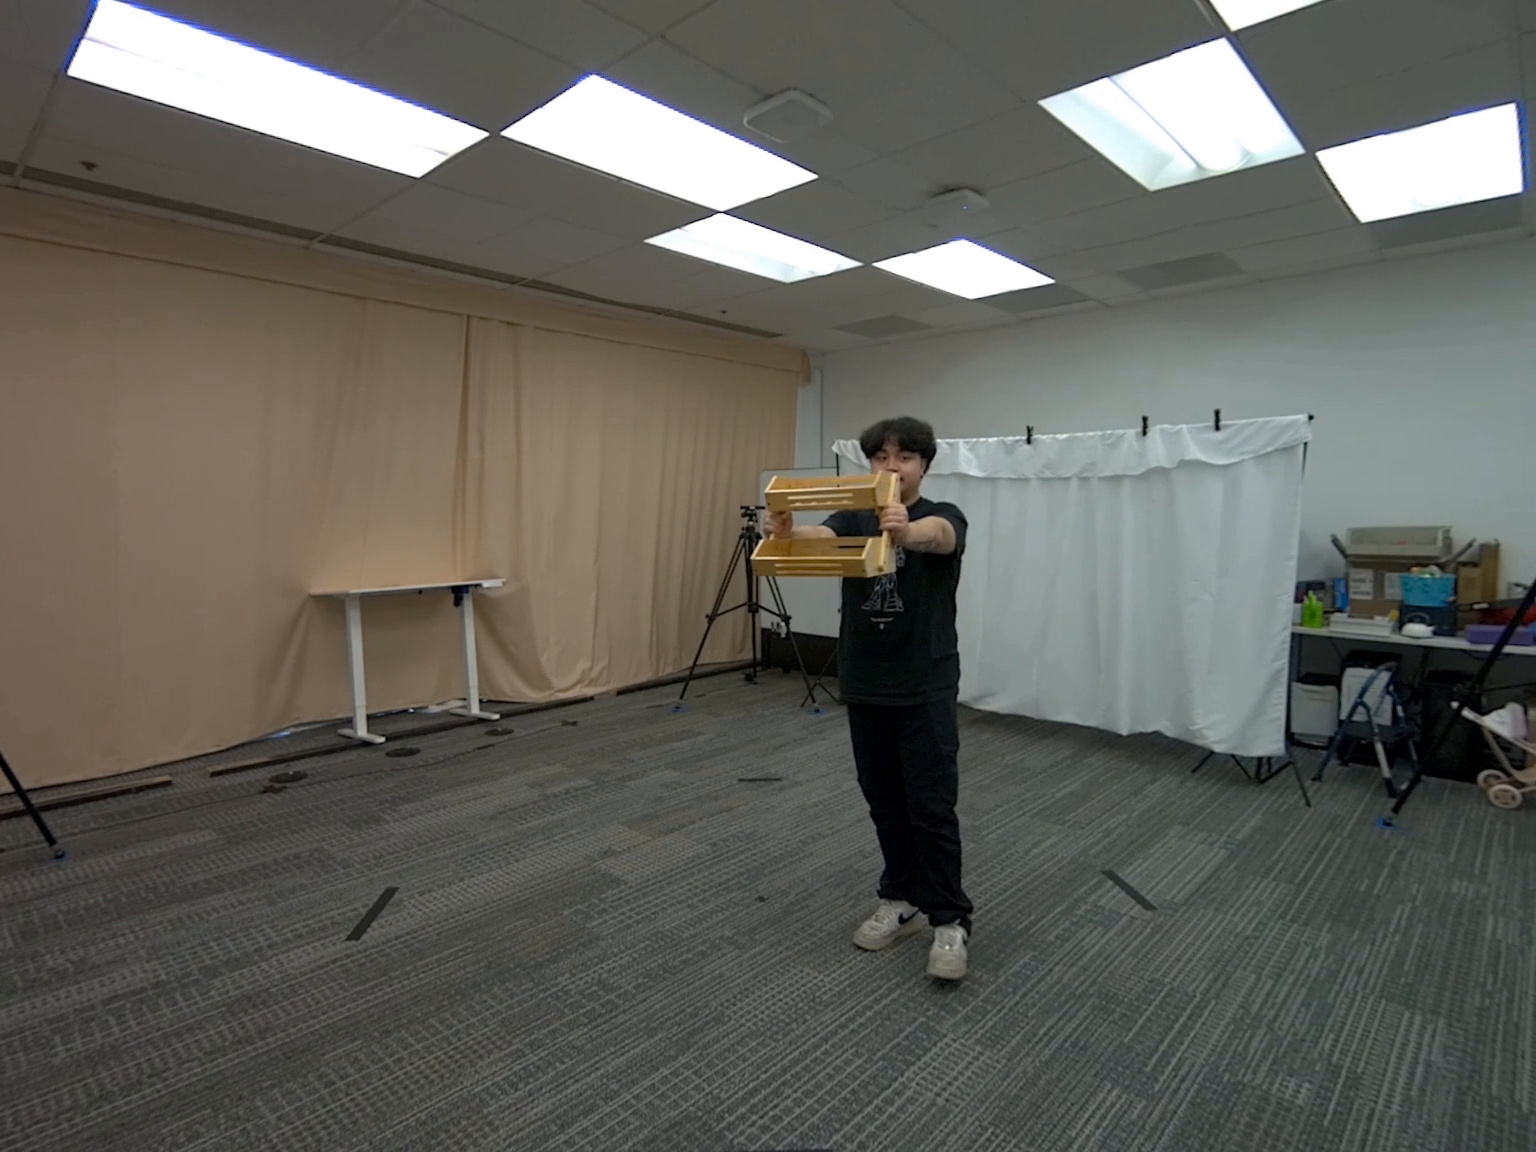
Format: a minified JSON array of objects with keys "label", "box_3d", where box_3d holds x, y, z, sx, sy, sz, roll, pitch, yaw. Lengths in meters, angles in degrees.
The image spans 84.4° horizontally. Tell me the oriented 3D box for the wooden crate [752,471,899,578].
[{"label":"wooden crate","box_3d":[0.160,-0.138,2.171,0.333,0.273,0.295,0,3,26]}]
